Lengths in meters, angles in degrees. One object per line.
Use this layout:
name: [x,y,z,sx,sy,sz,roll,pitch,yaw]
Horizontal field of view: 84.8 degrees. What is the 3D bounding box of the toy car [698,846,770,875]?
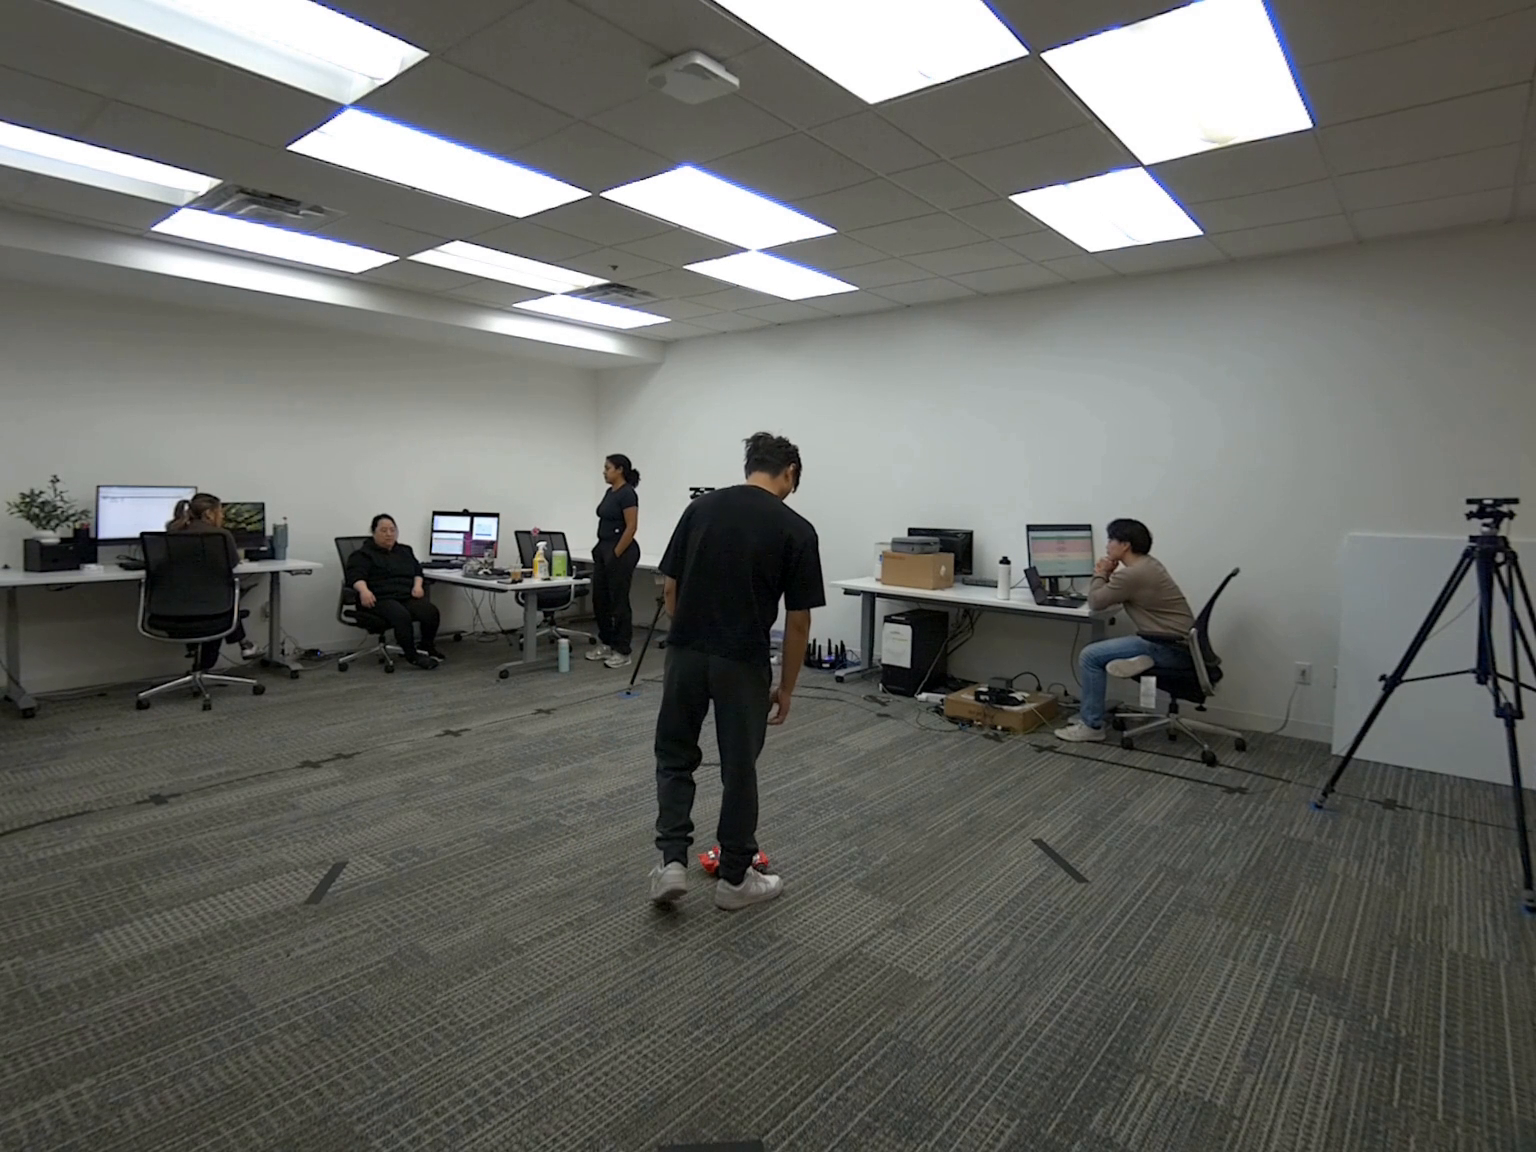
toy car: [-0.141,1.038,3.096,0.250,0.083,0.132,12,1,-13]
